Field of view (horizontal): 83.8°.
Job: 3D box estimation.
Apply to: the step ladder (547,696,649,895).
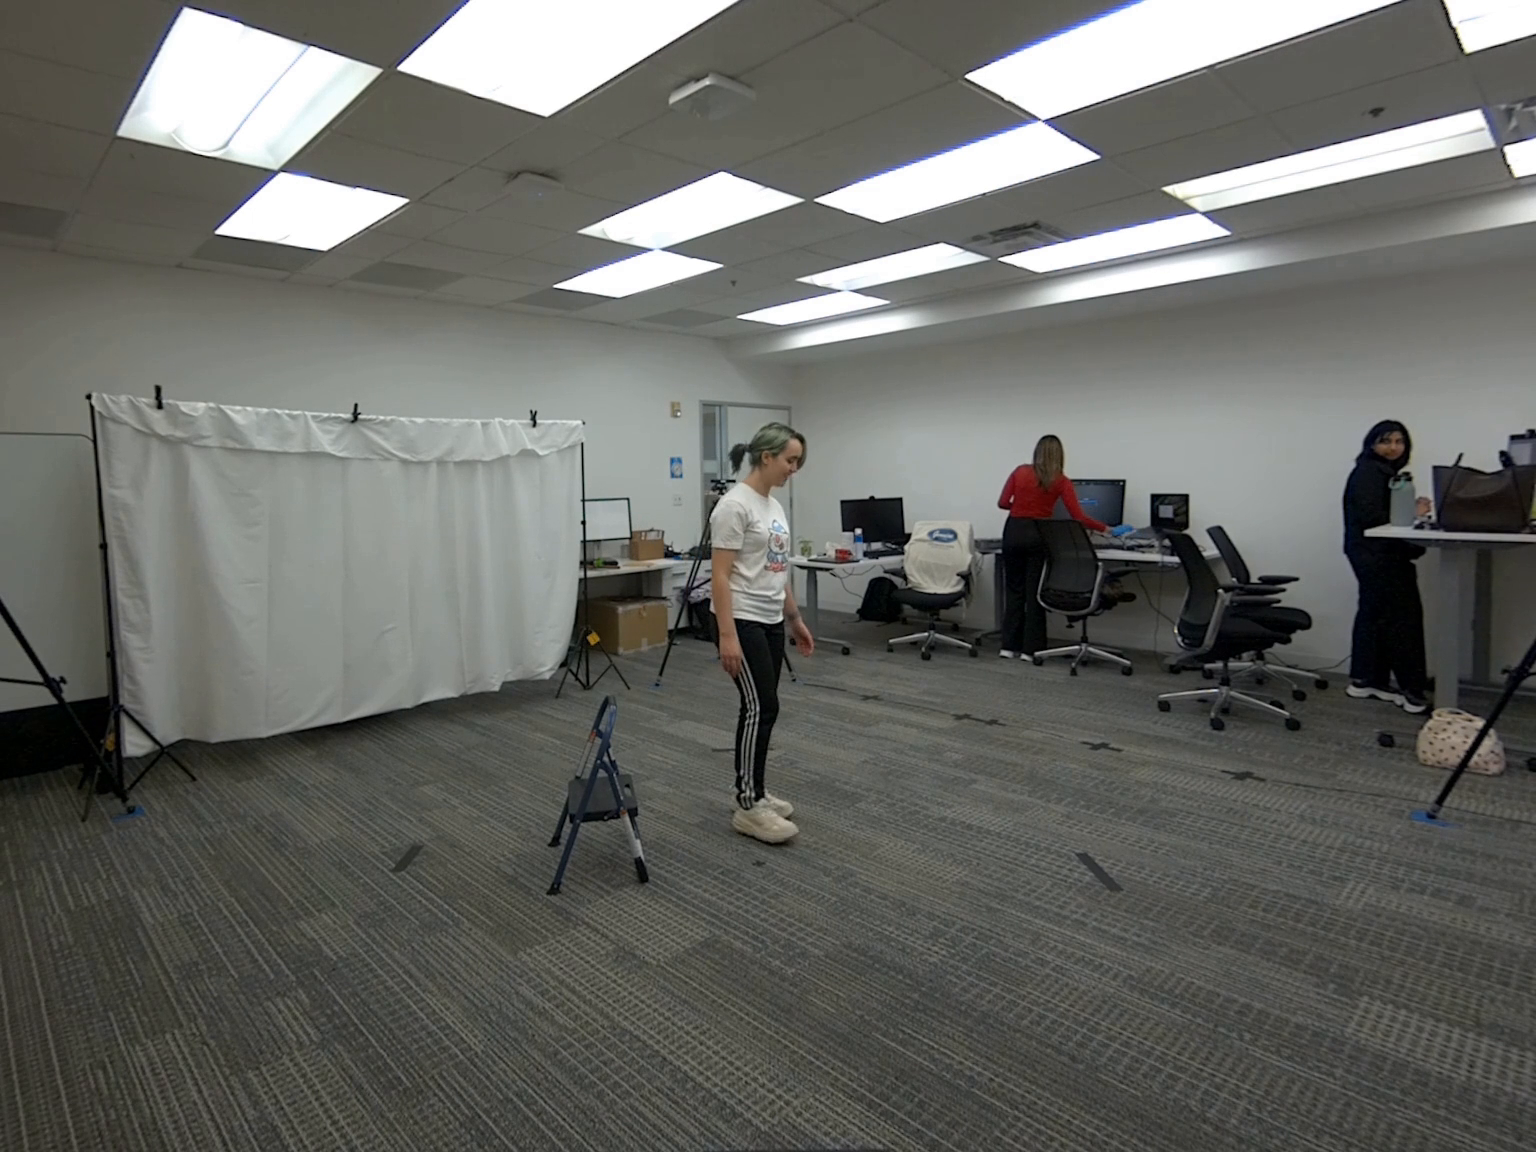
[{"bbox_3d":[-0.636,0.756,3.123,0.345,0.604,0.437,-2,4,-13],"label":"step ladder"}]
